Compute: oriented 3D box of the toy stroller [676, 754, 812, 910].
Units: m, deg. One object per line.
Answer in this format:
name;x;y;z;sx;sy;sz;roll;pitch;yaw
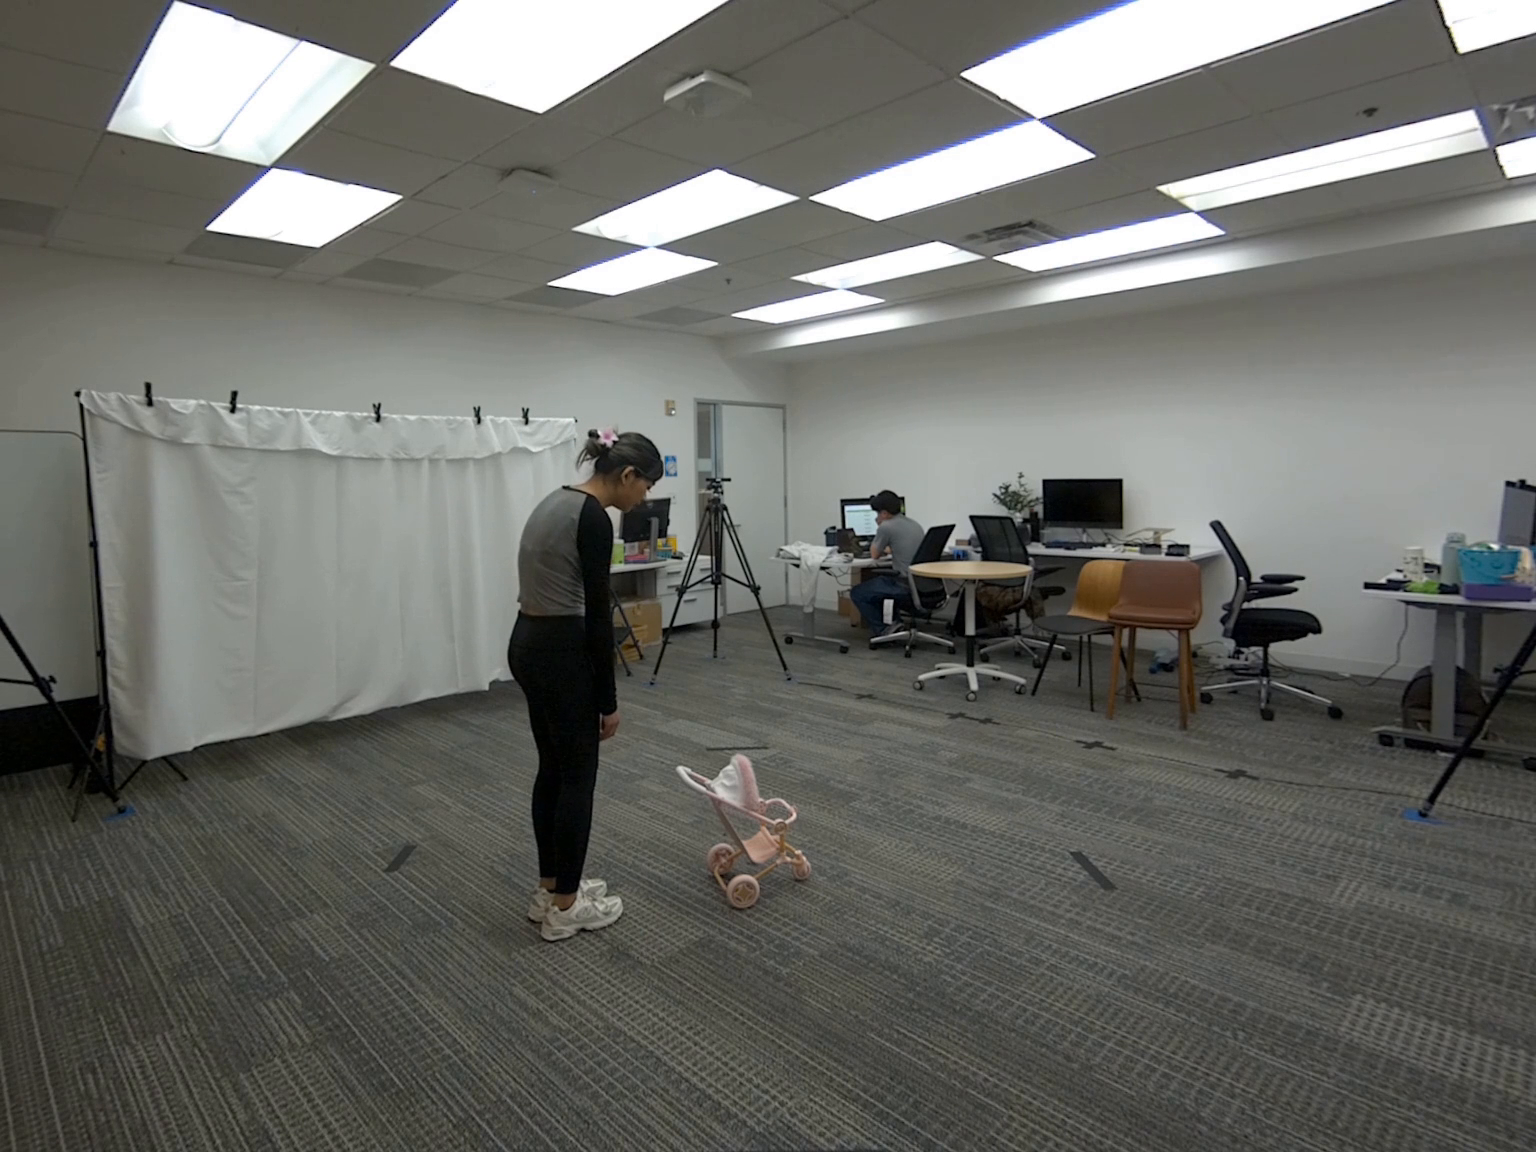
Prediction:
toy stroller;-0.059;0.840;2.898;0.339;0.530;0.286;-19;9;-12
